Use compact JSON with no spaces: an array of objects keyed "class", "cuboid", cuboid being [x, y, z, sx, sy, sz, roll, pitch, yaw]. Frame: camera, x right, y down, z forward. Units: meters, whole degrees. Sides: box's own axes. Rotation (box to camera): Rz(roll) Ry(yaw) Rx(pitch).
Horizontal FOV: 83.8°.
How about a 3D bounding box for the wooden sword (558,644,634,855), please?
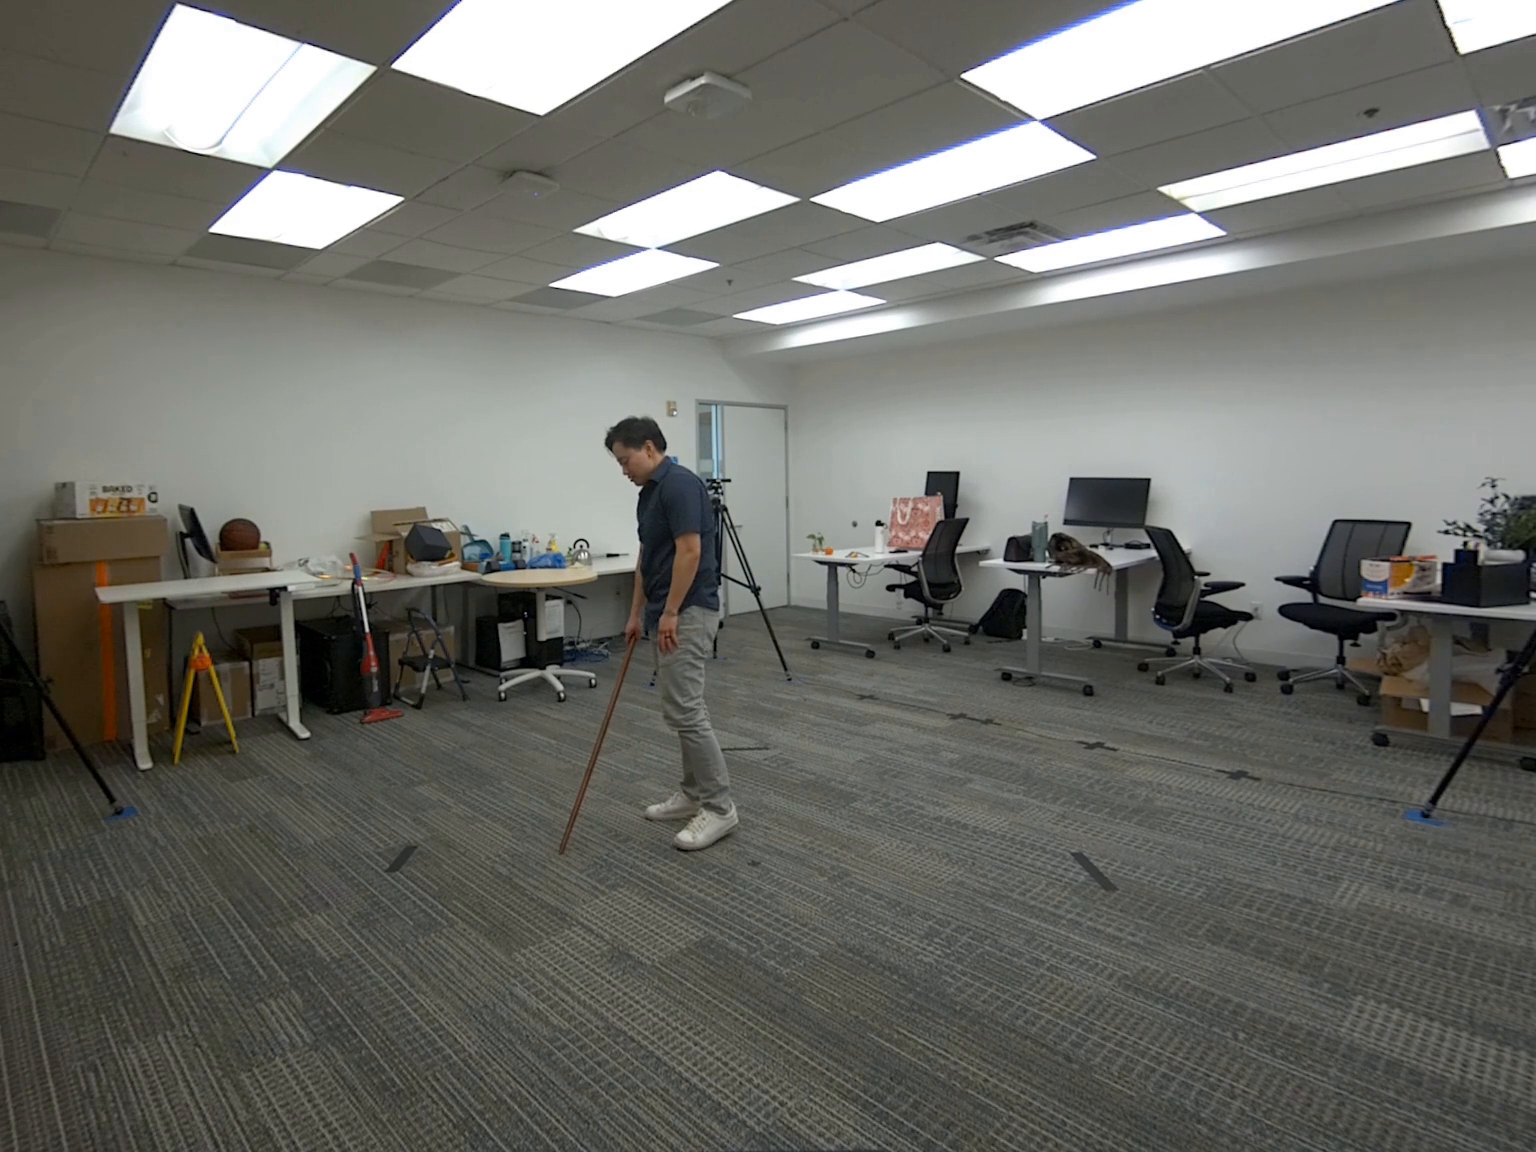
[{"class":"wooden sword","cuboid":[-0.669,0.622,3.508,0.052,1.043,0.023,-18,-45,37]}]
